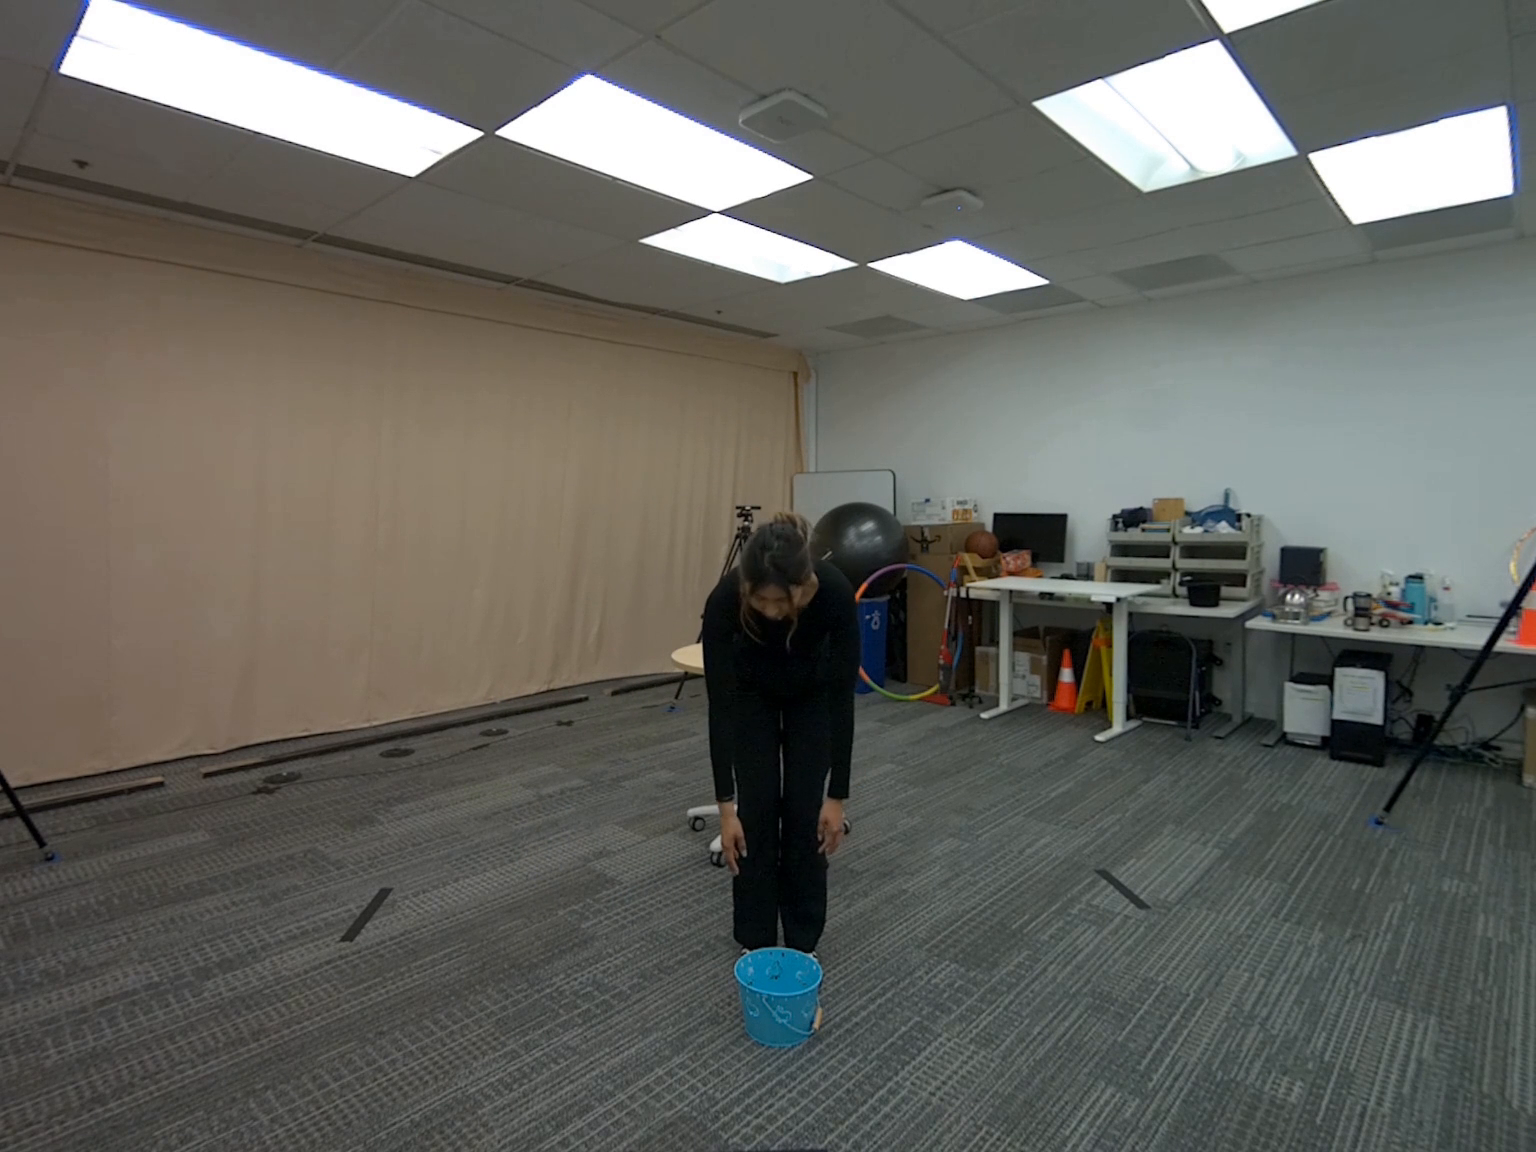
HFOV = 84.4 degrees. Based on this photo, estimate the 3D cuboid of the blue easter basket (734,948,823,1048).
[{"bbox_3d":[0.032,1.125,2.253,0.243,0.155,0.244,0,4,-2],"label":"blue easter basket"}]
